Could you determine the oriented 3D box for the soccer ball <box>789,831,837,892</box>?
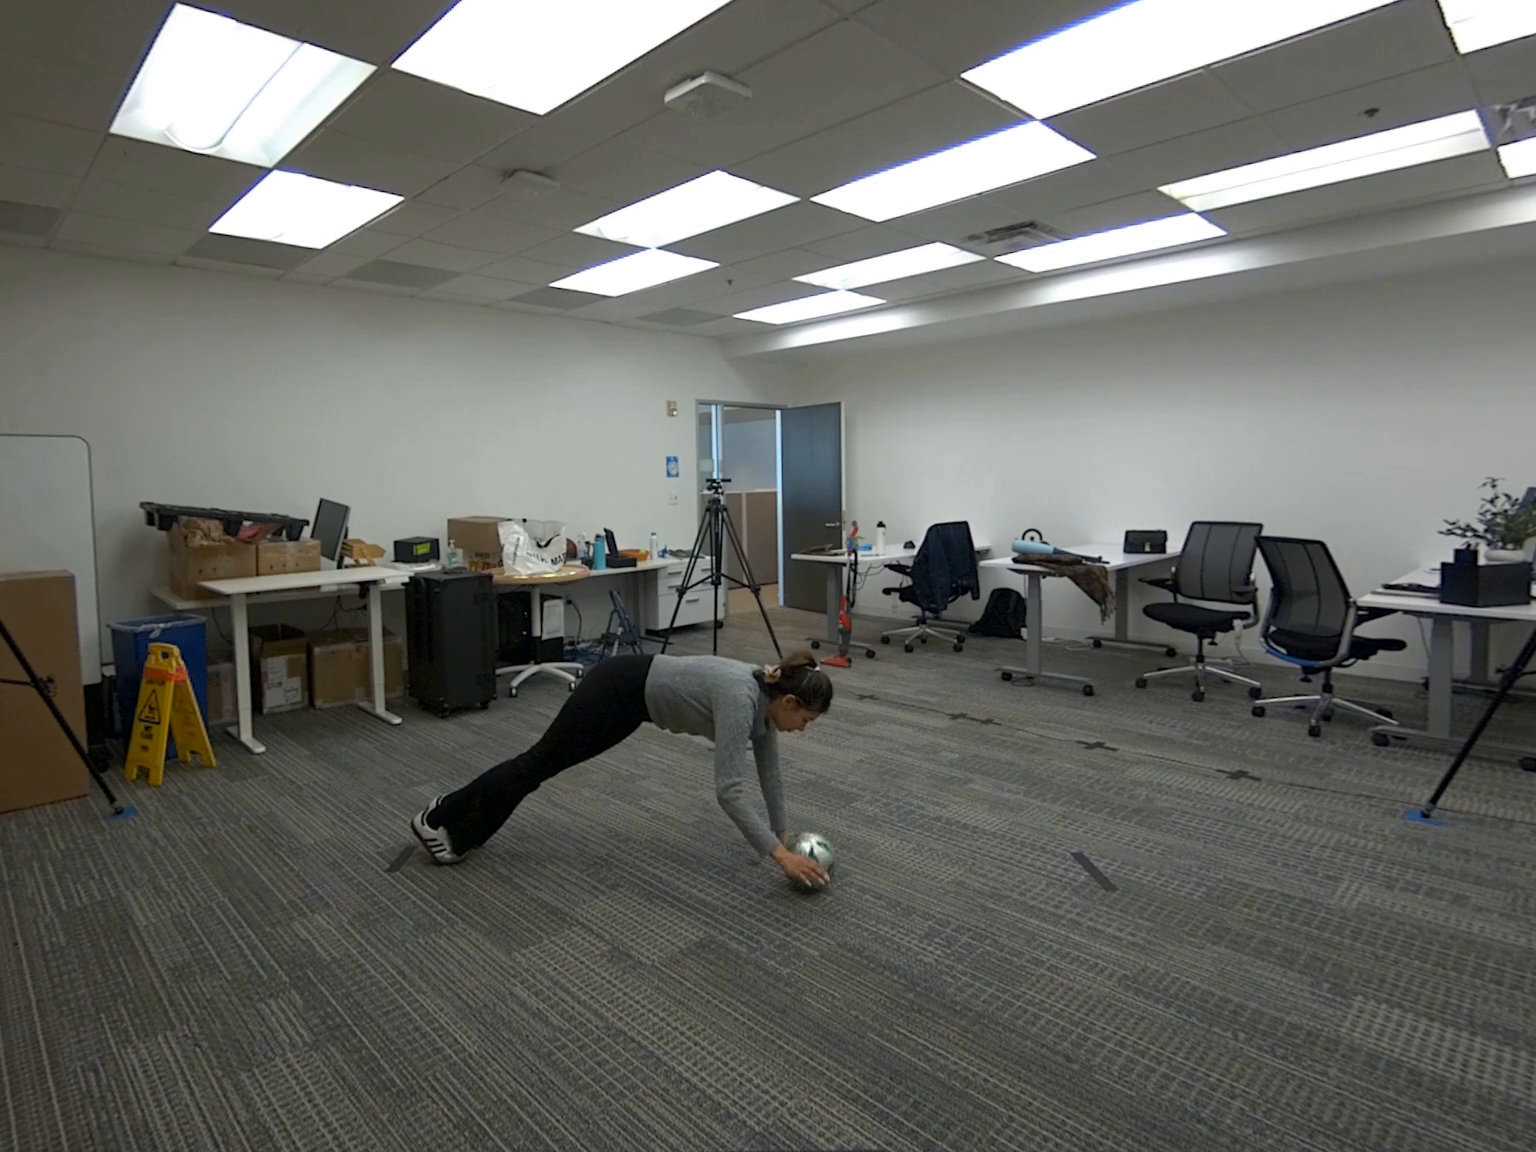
[{"bbox_3d":[0.141,0.964,2.906,0.187,0.187,0.188,-1,5,-2],"label":"soccer ball"}]
